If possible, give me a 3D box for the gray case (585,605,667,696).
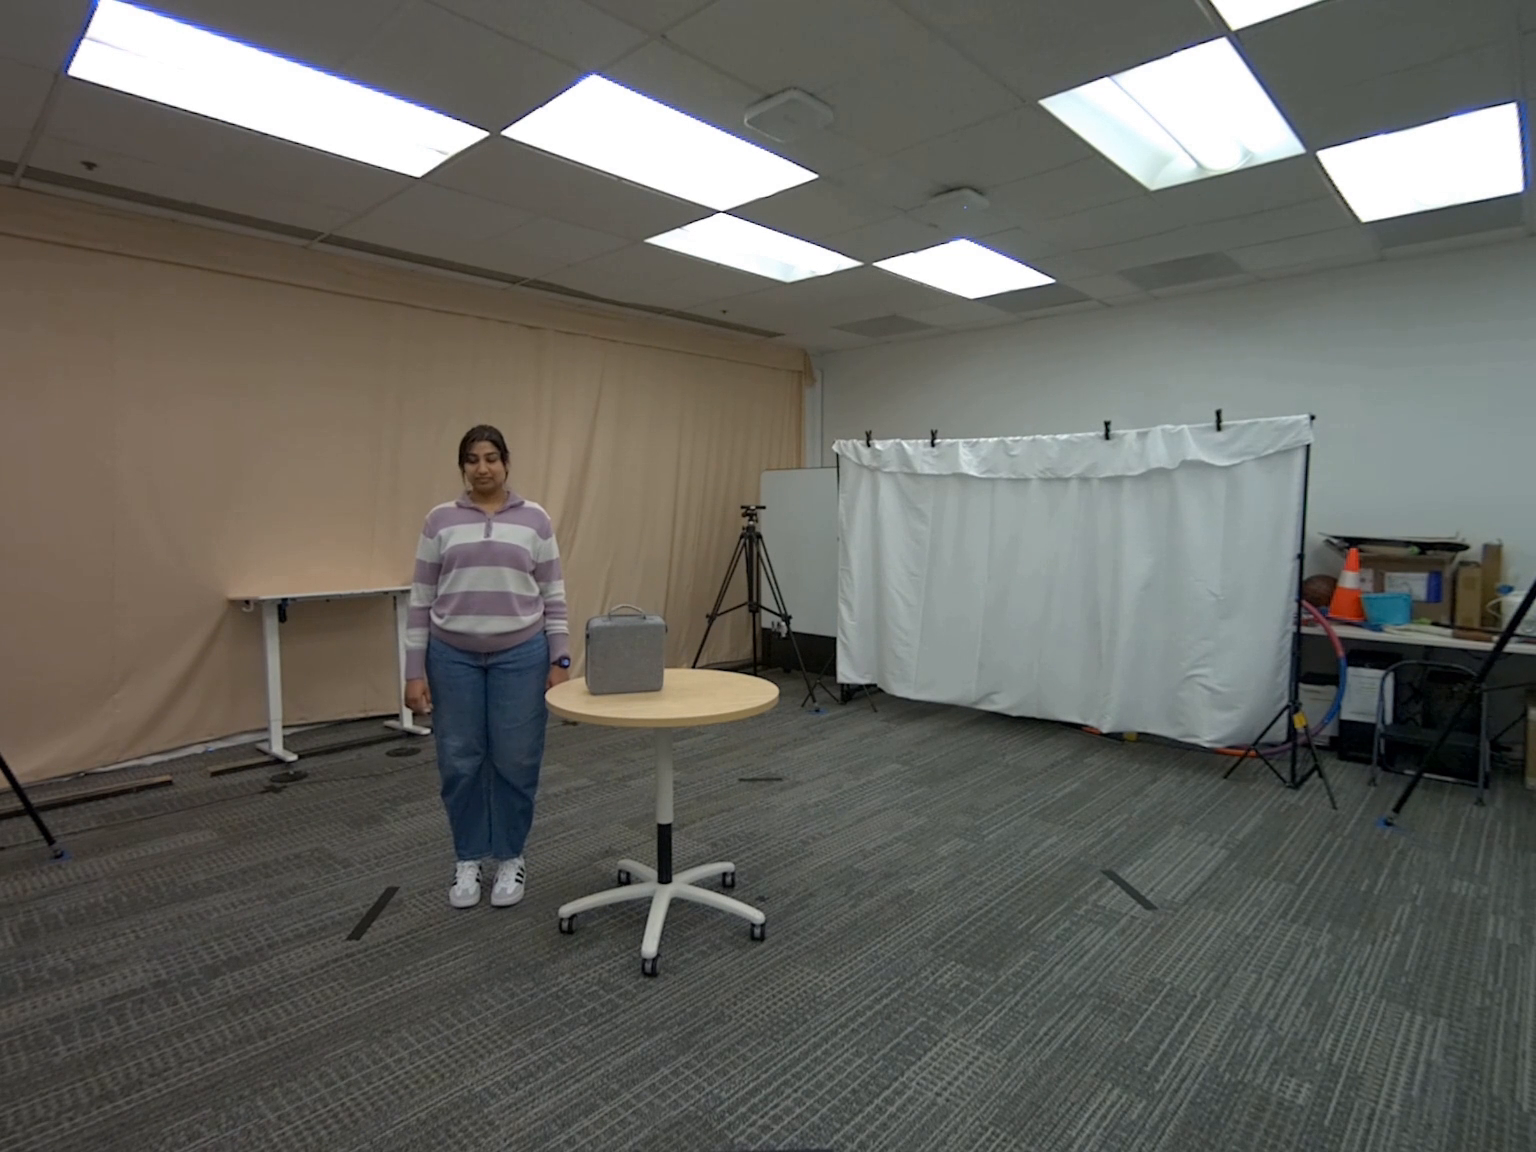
[{"bbox_3d":[-0.466,0.255,2.750,0.253,0.259,0.107,-2,13,-15],"label":"gray case"}]
